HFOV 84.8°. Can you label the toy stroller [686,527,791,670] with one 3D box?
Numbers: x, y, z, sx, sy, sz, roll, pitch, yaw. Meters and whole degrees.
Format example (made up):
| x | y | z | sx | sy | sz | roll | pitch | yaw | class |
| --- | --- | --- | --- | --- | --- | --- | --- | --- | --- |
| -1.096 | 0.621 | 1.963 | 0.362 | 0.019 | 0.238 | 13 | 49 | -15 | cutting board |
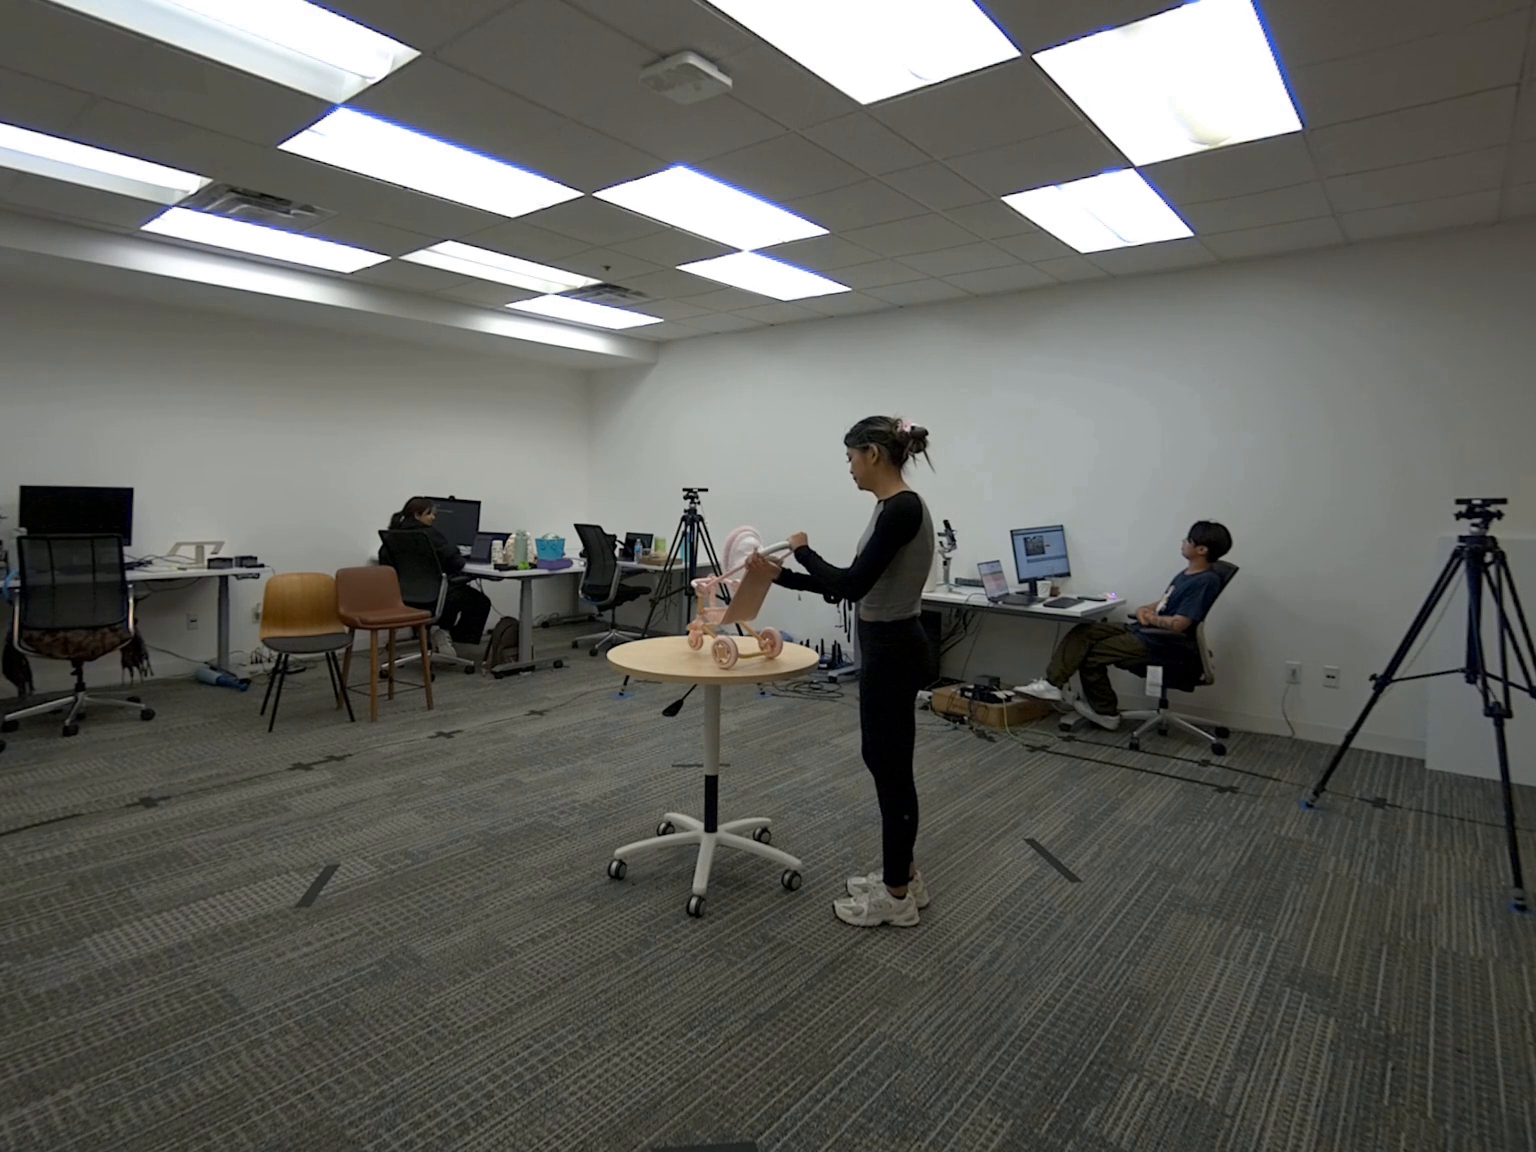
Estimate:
| x | y | z | sx | sy | sz | roll | pitch | yaw | class |
| --- | --- | --- | --- | --- | --- | --- | --- | --- | --- |
| -0.116 | 0.063 | 2.945 | 0.273 | 0.530 | 0.355 | -1 | 21 | -46 | toy stroller |
